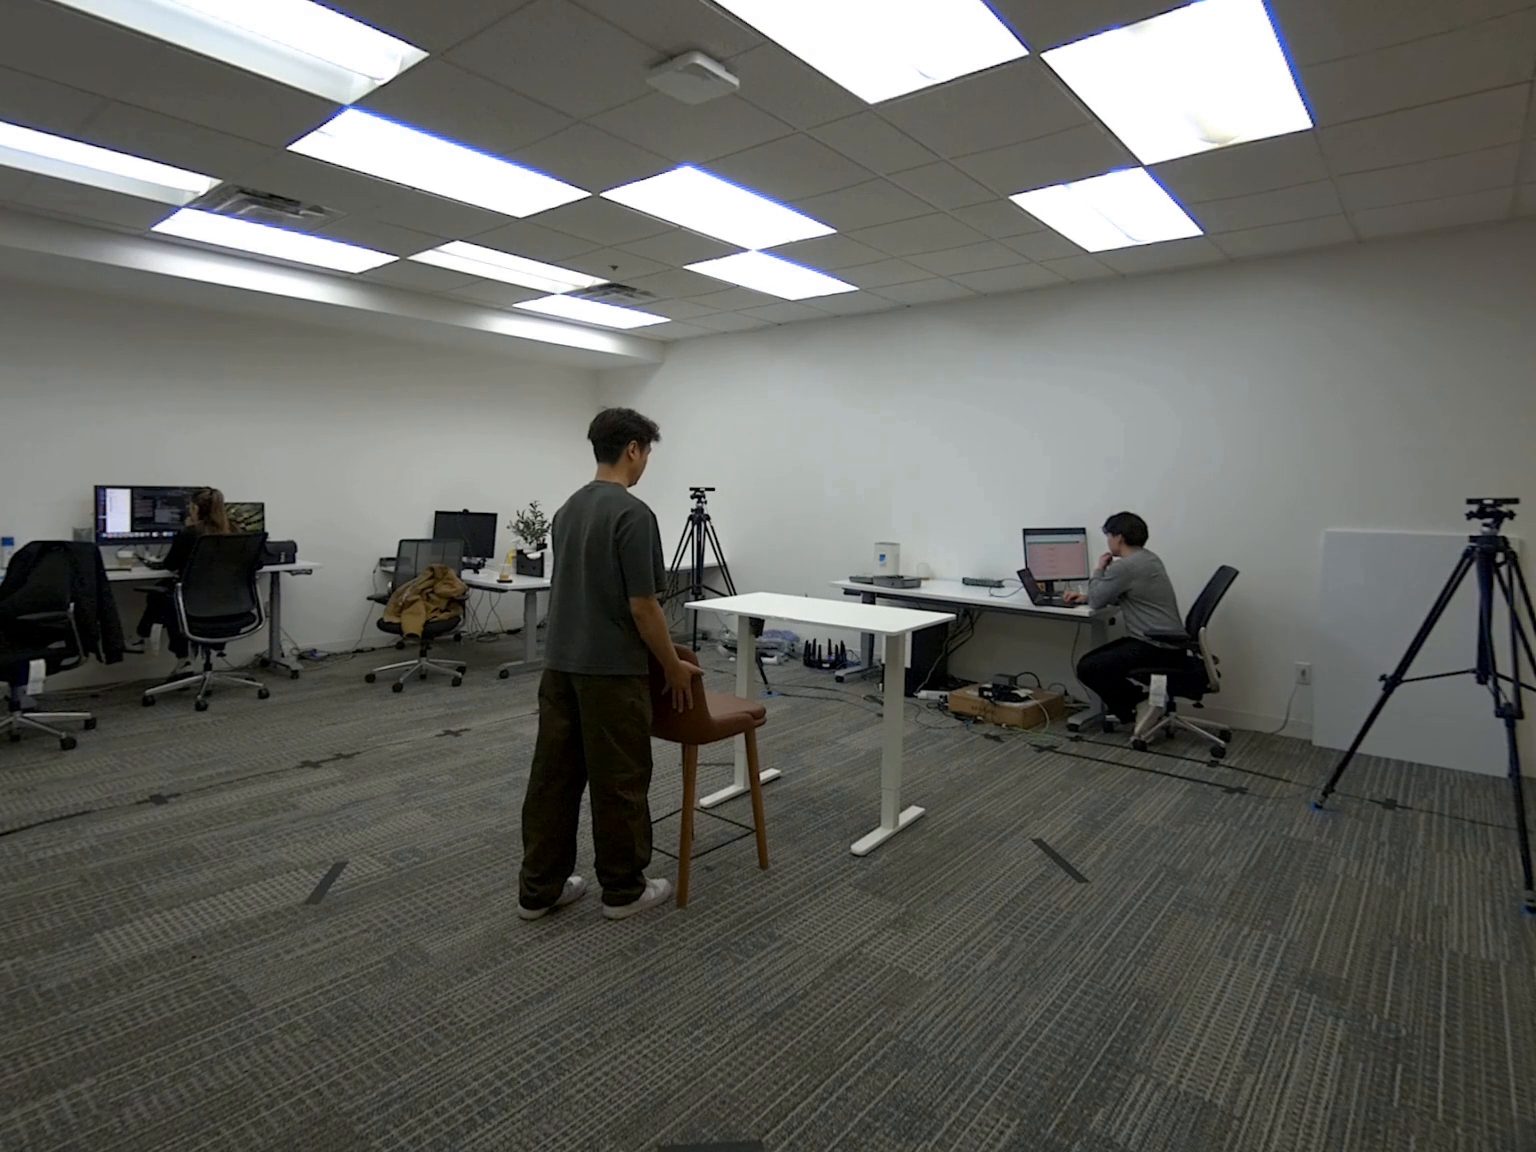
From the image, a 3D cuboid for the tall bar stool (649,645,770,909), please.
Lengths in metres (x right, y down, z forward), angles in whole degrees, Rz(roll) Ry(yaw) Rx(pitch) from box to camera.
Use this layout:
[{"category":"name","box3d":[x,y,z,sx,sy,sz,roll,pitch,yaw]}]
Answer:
[{"category":"tall bar stool","box3d":[-0.298,0.633,3.064,0.472,0.886,0.454,4,6,39]}]
